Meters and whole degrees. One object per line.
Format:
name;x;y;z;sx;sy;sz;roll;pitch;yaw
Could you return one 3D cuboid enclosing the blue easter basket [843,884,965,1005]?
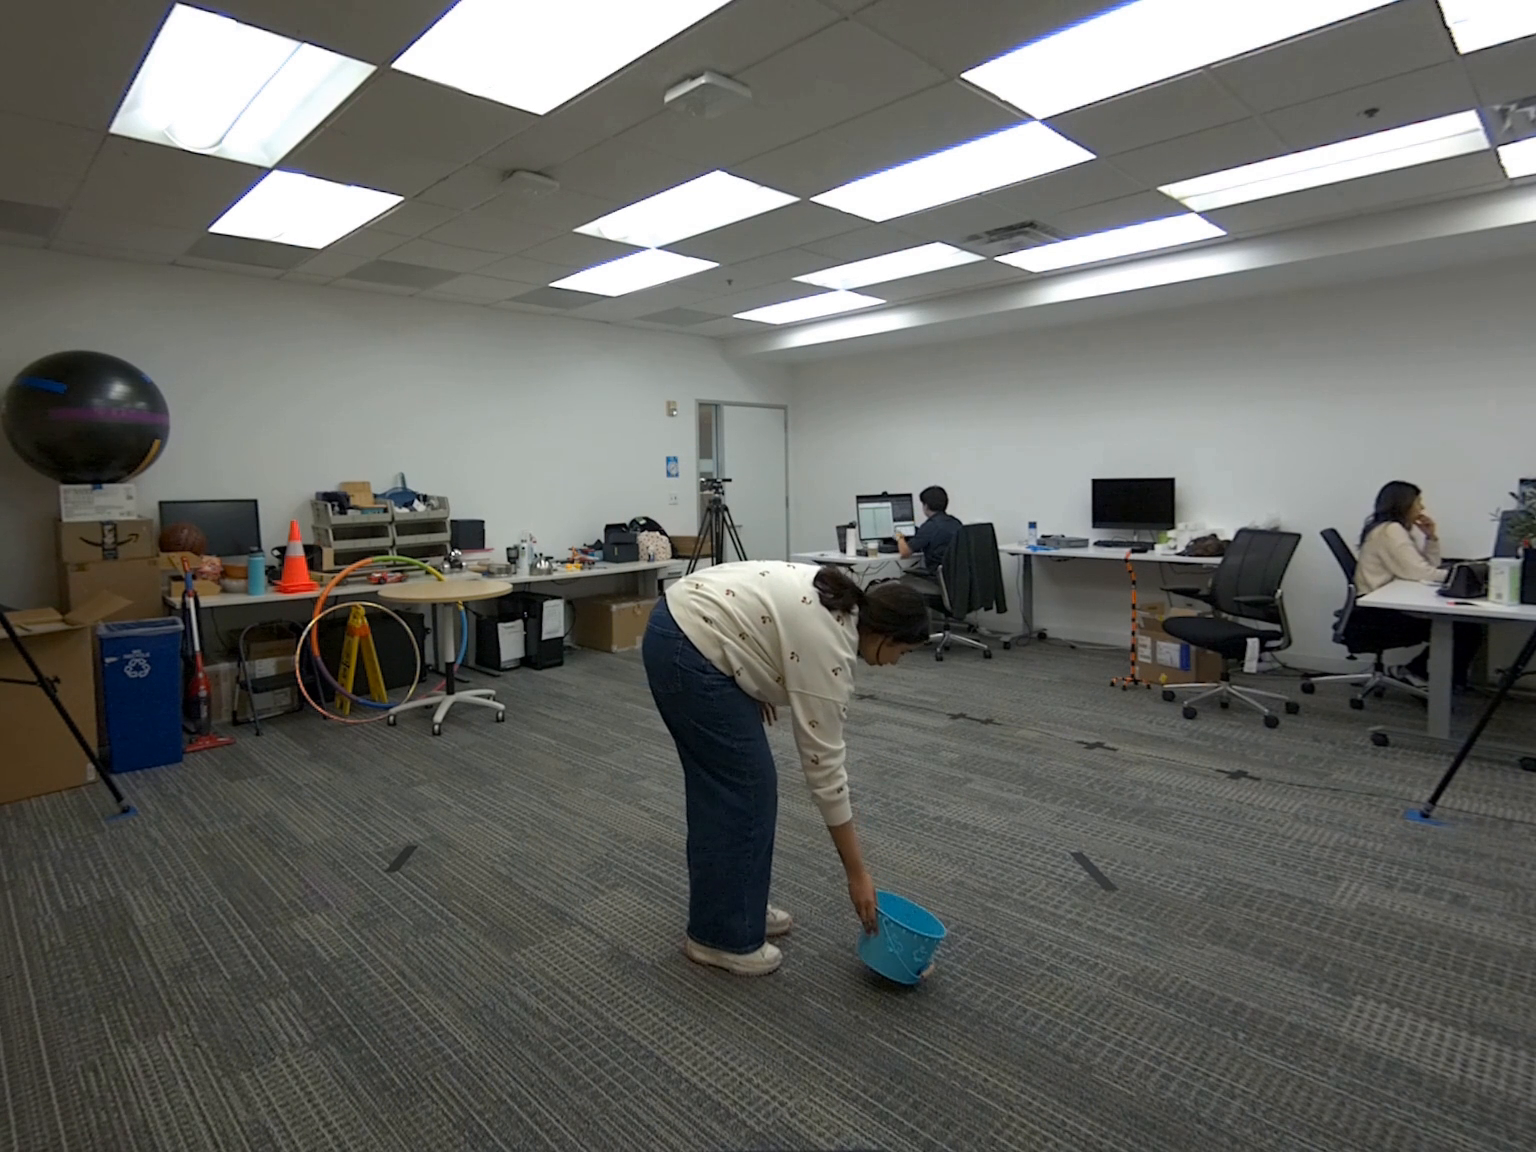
blue easter basket;0.365;1.001;2.366;0.243;0.156;0.244;20;1;-2
